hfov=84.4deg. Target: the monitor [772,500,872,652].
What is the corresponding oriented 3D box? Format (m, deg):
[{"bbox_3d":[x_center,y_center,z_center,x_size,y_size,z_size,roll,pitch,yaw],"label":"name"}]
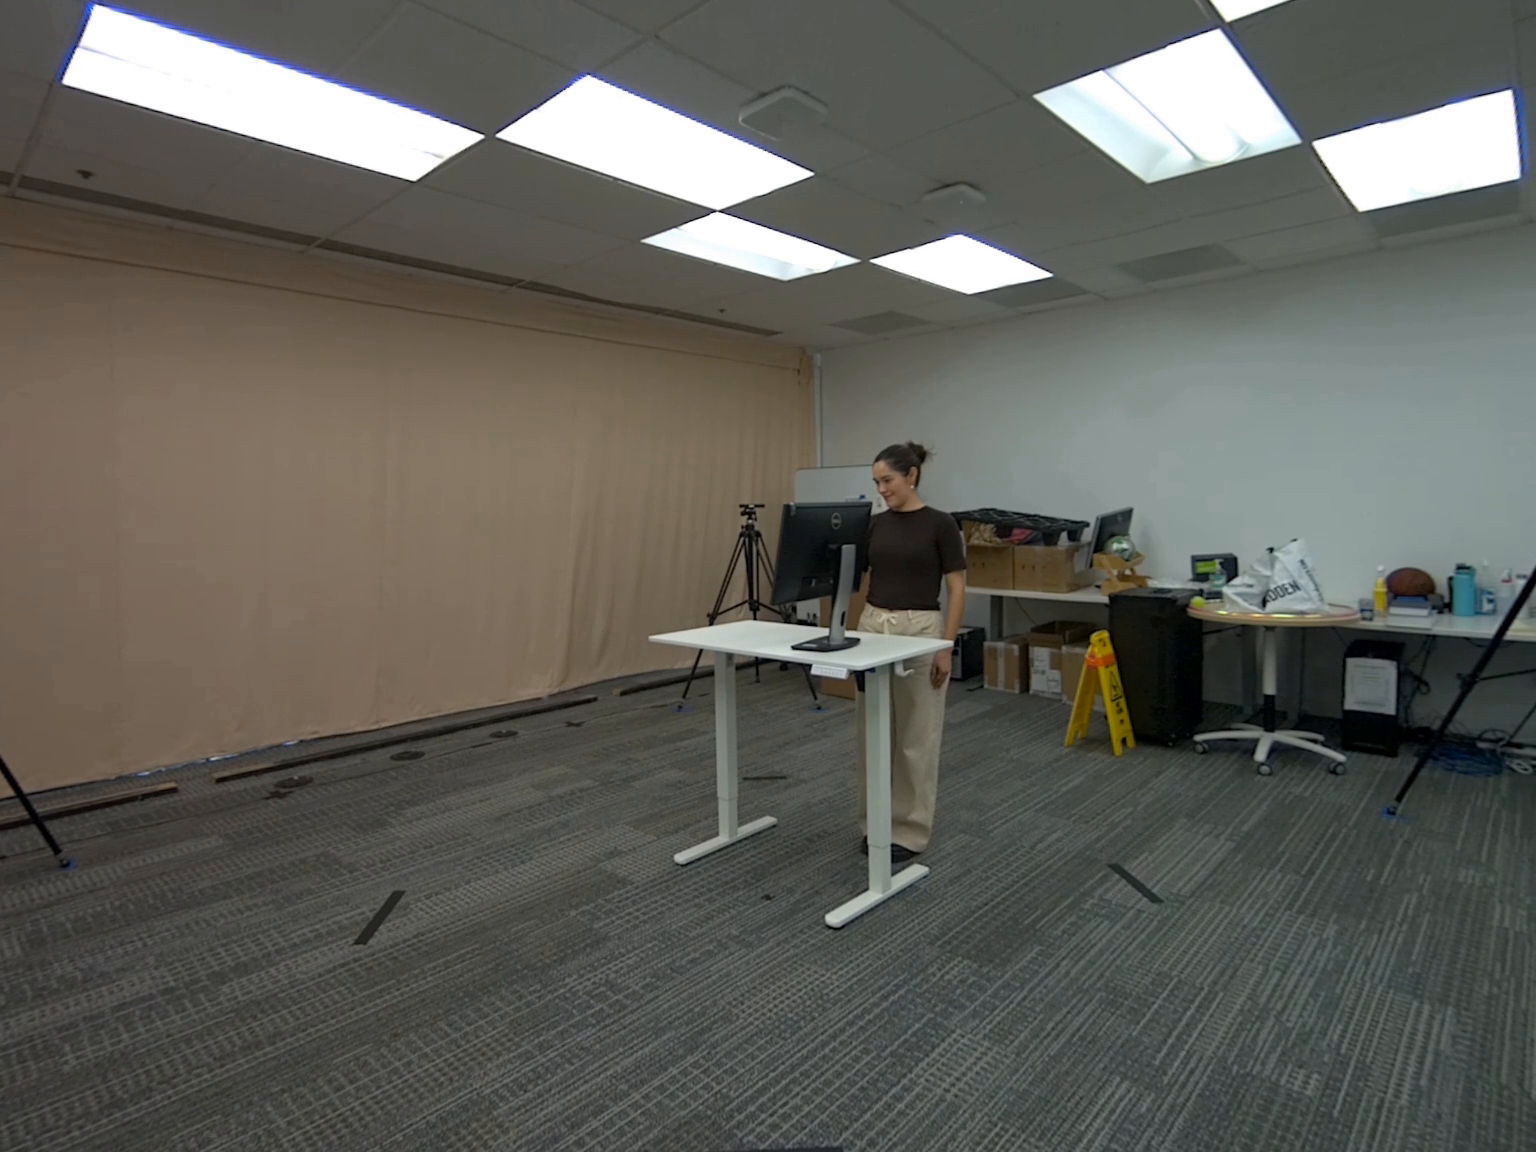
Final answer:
[{"bbox_3d":[0.224,-0.001,2.994,0.193,0.522,0.523,0,3,41],"label":"monitor"}]
